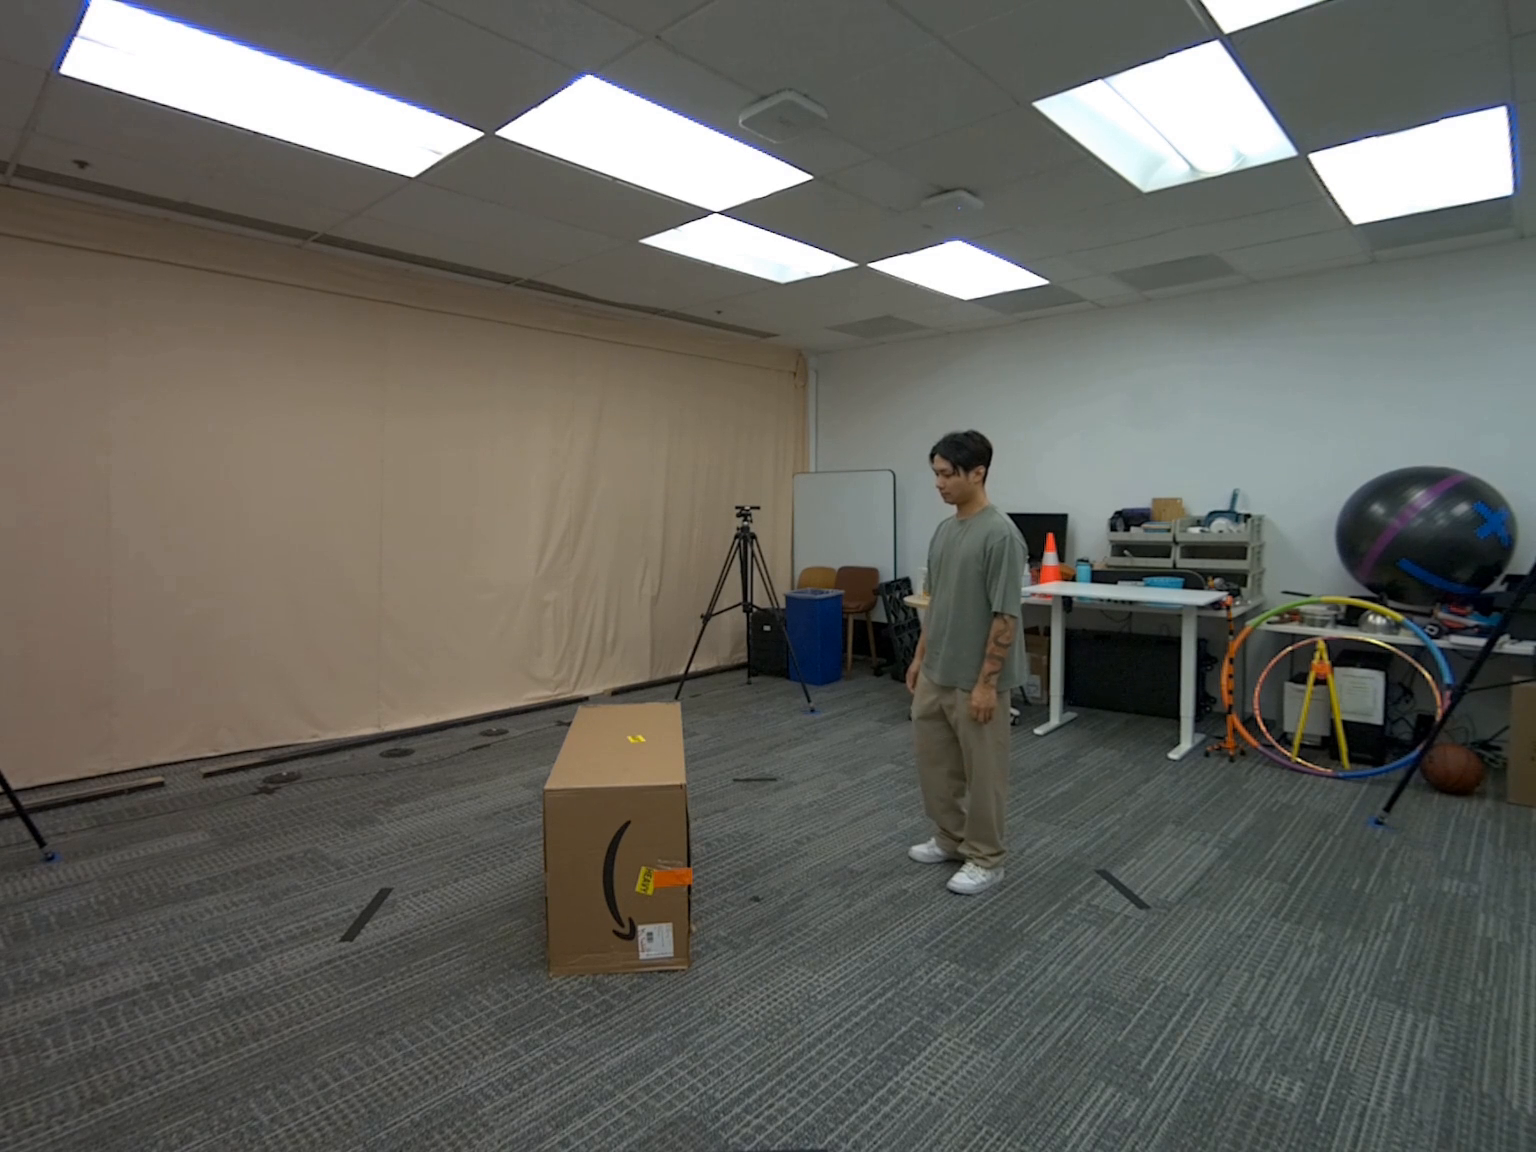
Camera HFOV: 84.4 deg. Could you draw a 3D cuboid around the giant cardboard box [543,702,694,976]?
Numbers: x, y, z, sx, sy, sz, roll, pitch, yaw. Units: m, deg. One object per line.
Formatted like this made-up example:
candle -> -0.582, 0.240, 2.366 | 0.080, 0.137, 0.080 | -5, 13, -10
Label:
giant cardboard box -> -0.503, 0.856, 3.001 | 0.424, 0.576, 1.034 | -1, 4, -6
